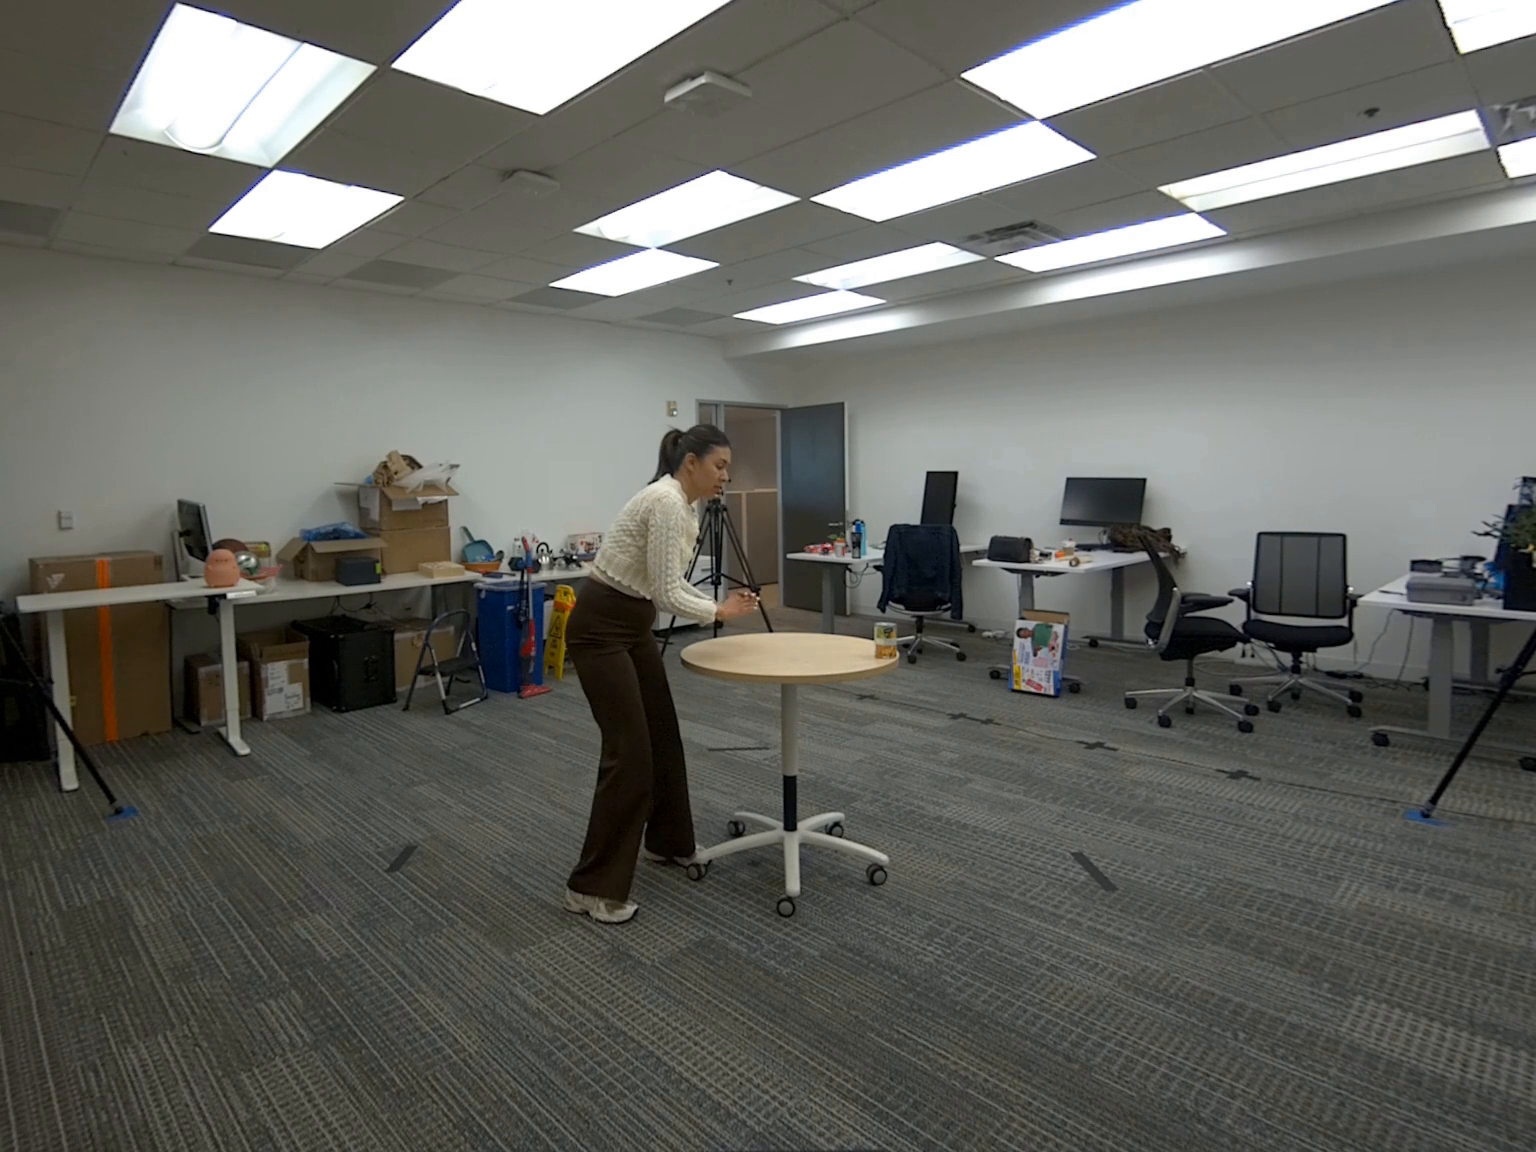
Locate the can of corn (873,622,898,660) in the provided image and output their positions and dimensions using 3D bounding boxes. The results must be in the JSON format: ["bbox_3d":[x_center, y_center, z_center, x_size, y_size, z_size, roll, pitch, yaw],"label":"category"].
[{"bbox_3d":[0.398,0.219,2.906,0.074,0.110,0.075,2,8,-2],"label":"can of corn"}]
